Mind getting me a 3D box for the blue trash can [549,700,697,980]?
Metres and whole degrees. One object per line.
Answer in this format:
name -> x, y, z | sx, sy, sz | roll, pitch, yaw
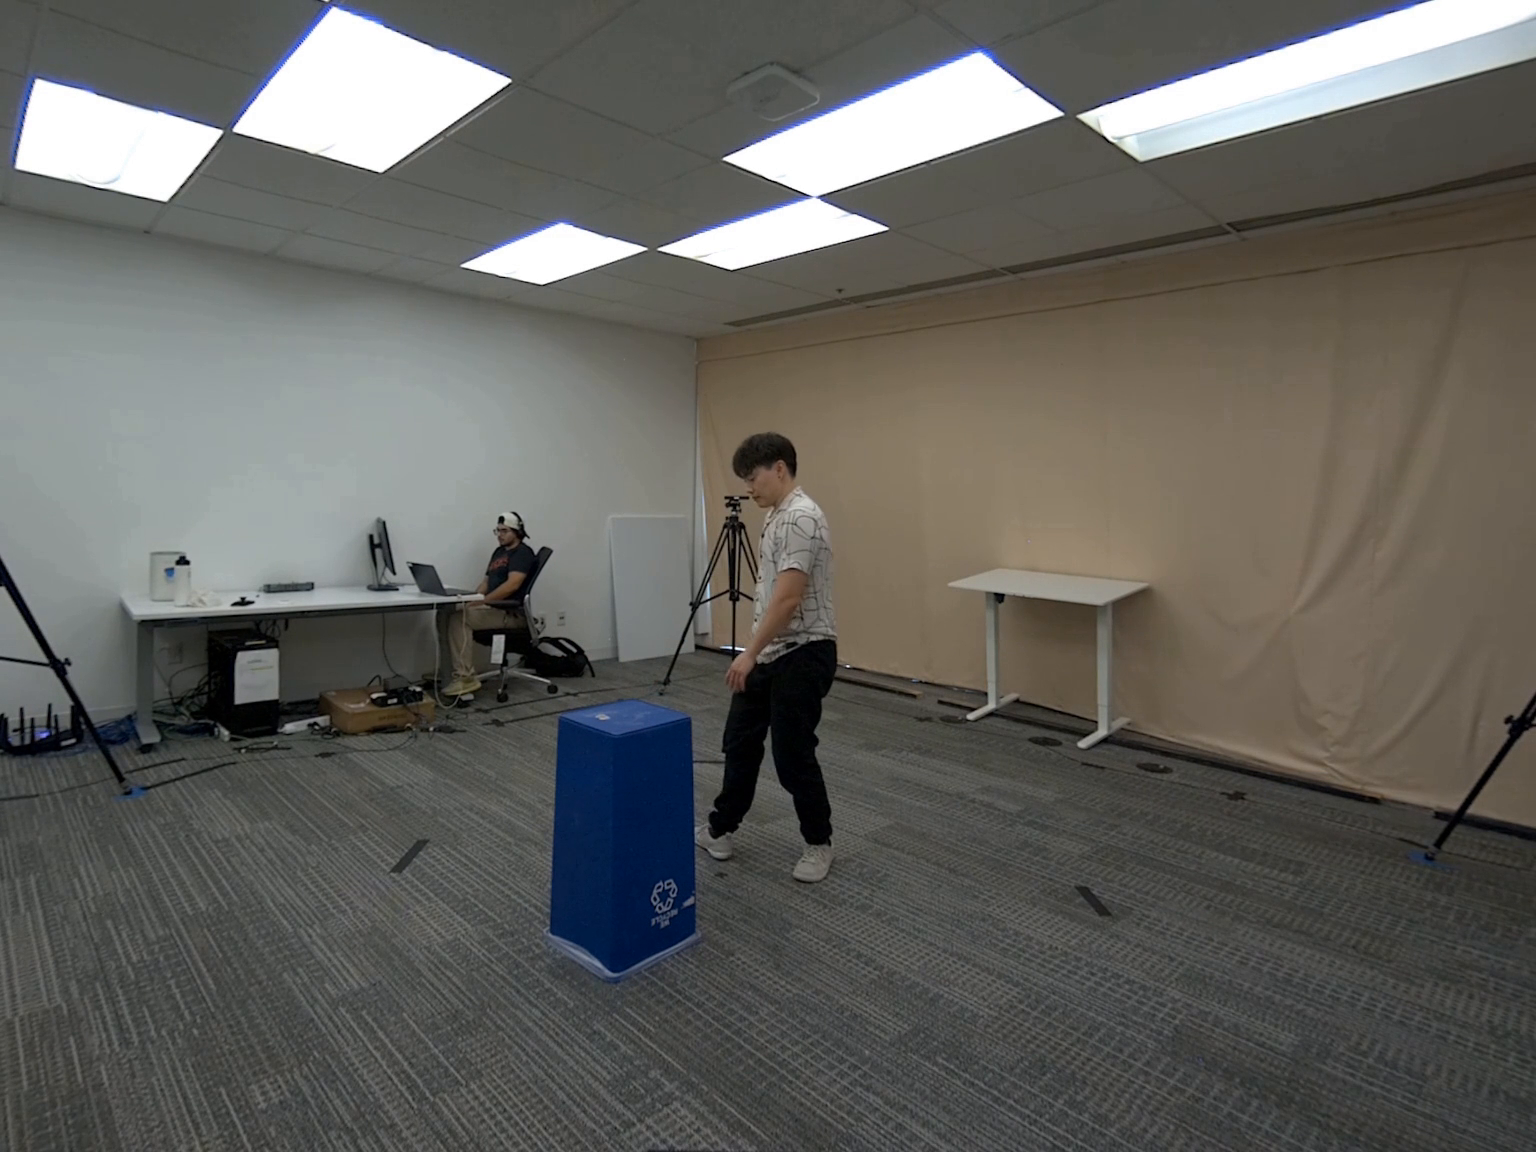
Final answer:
blue trash can -> -0.464, 0.790, 2.619 | 0.387, 0.712, 0.366 | 3, 5, 44
